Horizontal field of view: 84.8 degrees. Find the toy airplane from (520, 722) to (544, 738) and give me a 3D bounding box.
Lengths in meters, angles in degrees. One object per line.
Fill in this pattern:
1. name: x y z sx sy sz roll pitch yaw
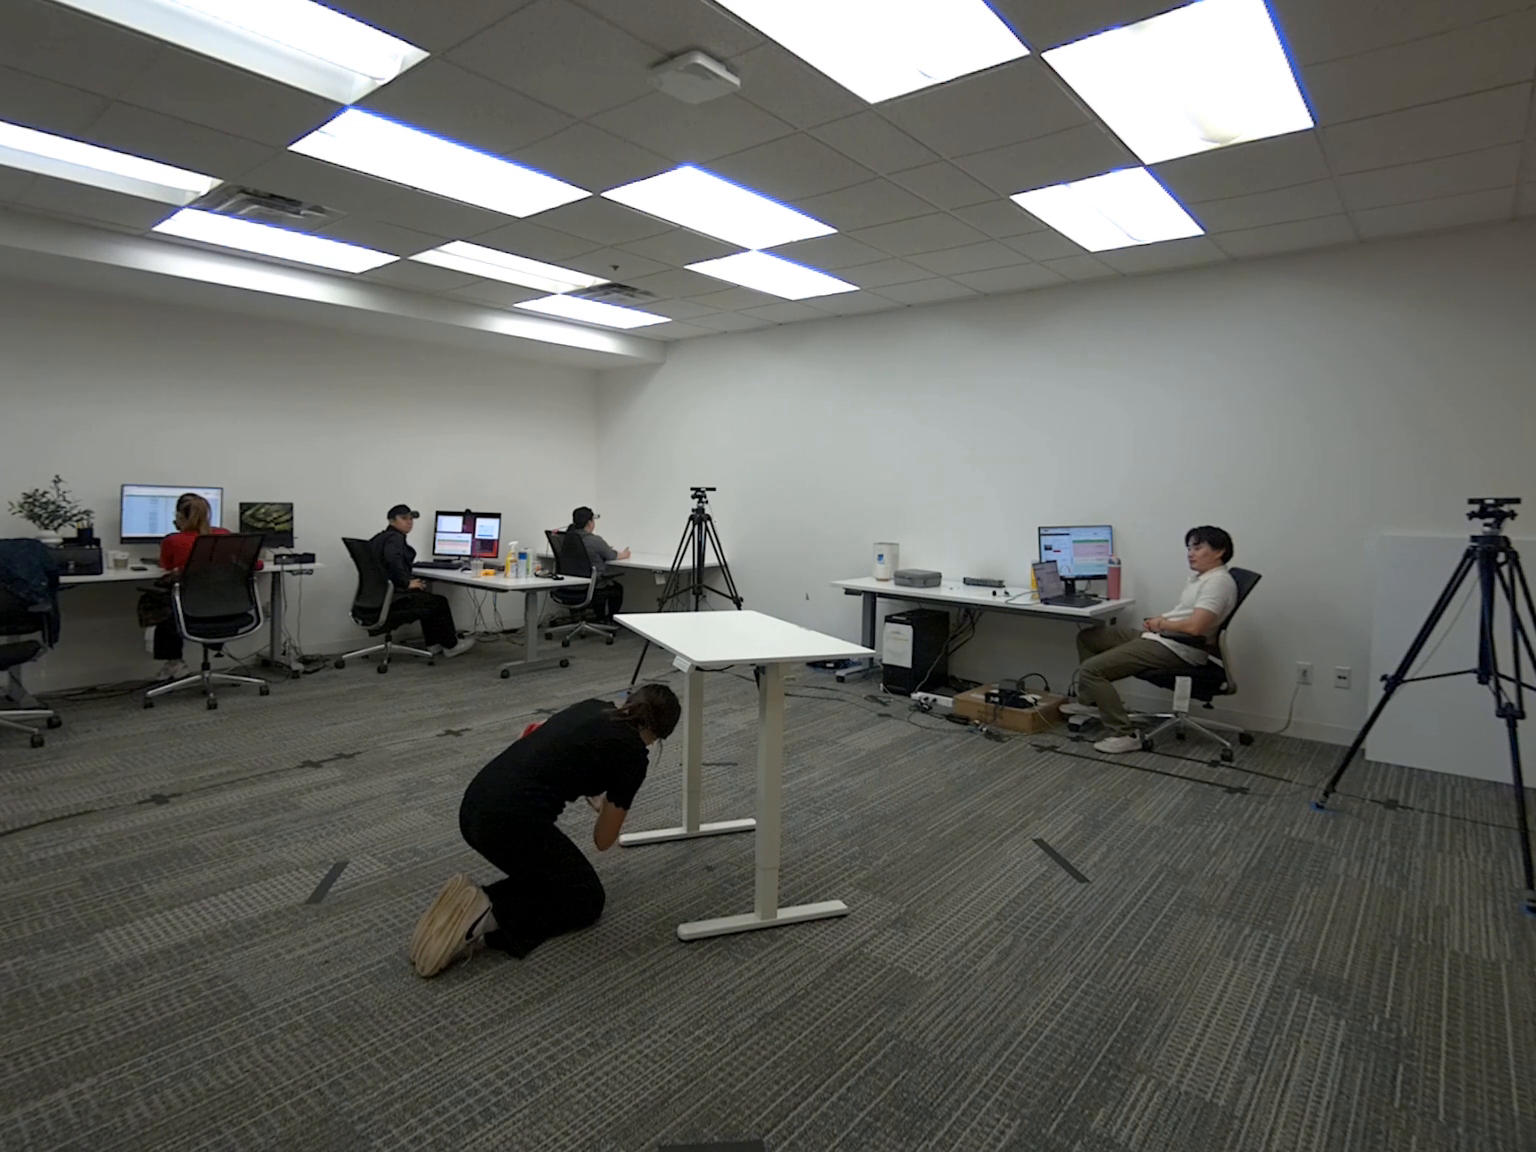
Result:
1. toy airplane: -0.753 0.613 2.880 0.256 0.252 0.158 -17 -2 -18
